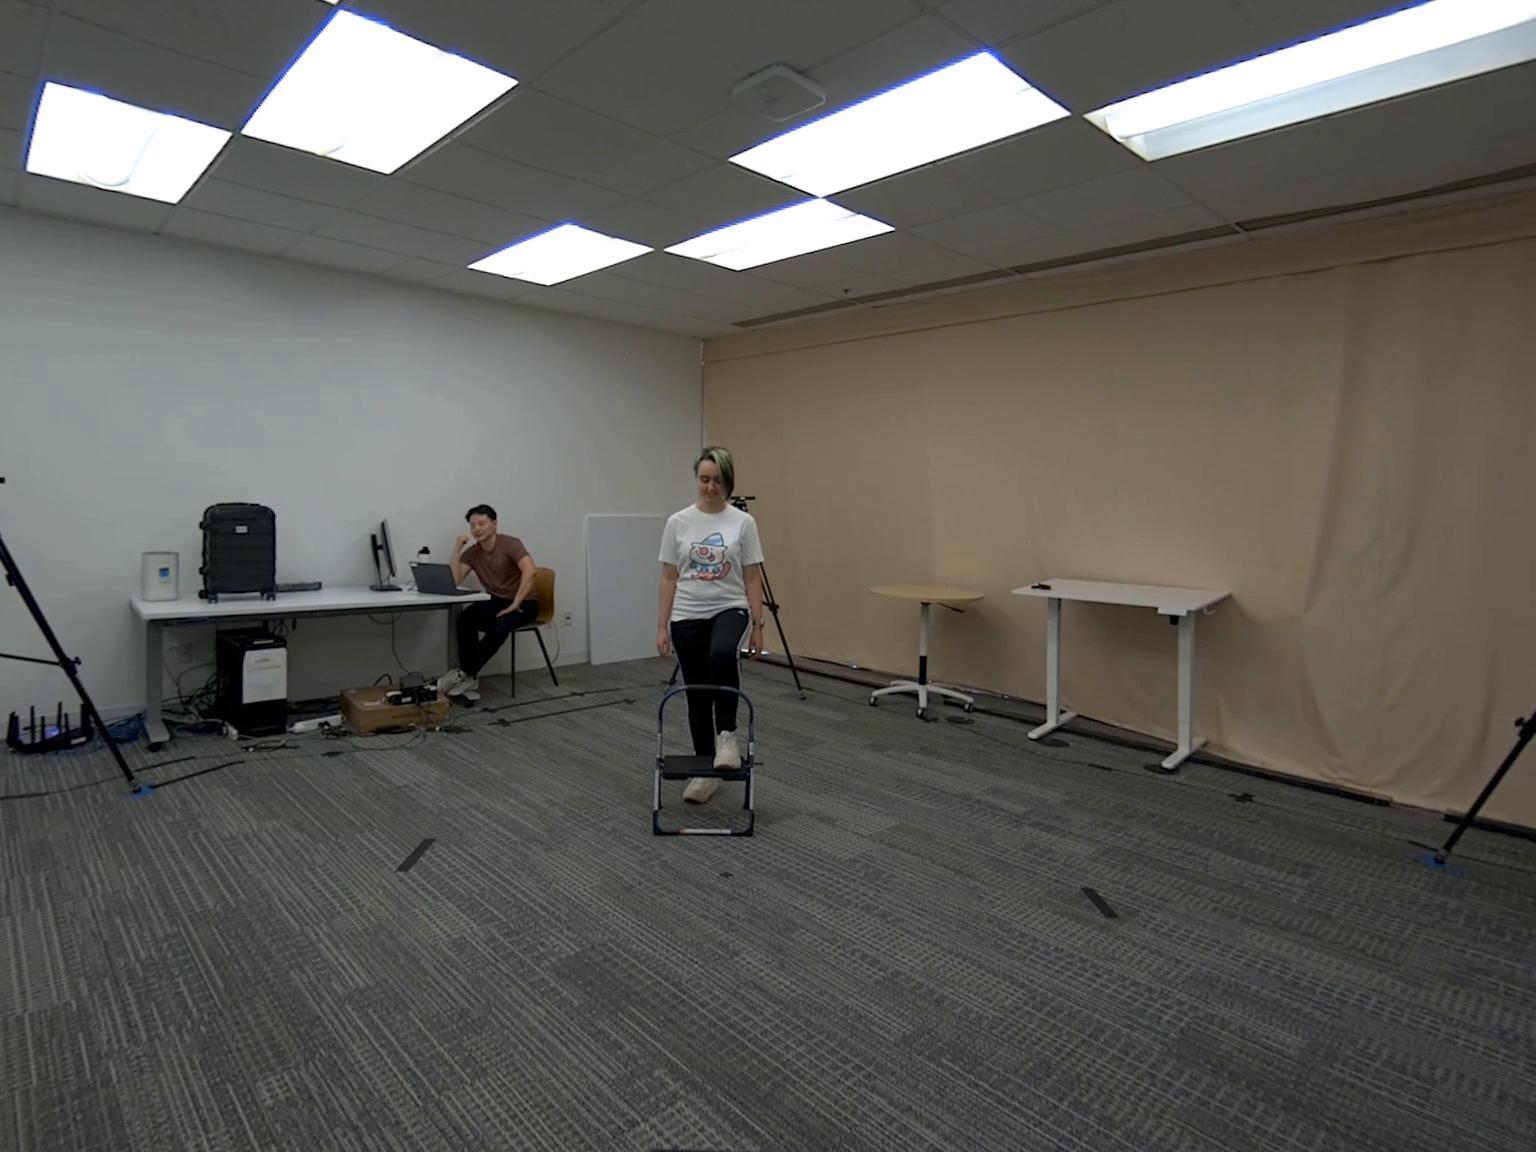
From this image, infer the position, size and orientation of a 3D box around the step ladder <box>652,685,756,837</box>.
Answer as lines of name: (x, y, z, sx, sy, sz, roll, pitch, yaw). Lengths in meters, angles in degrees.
step ladder: (-0.284, 0.760, 3.615, 0.429, 0.605, 0.351, 1, 3, -5)
